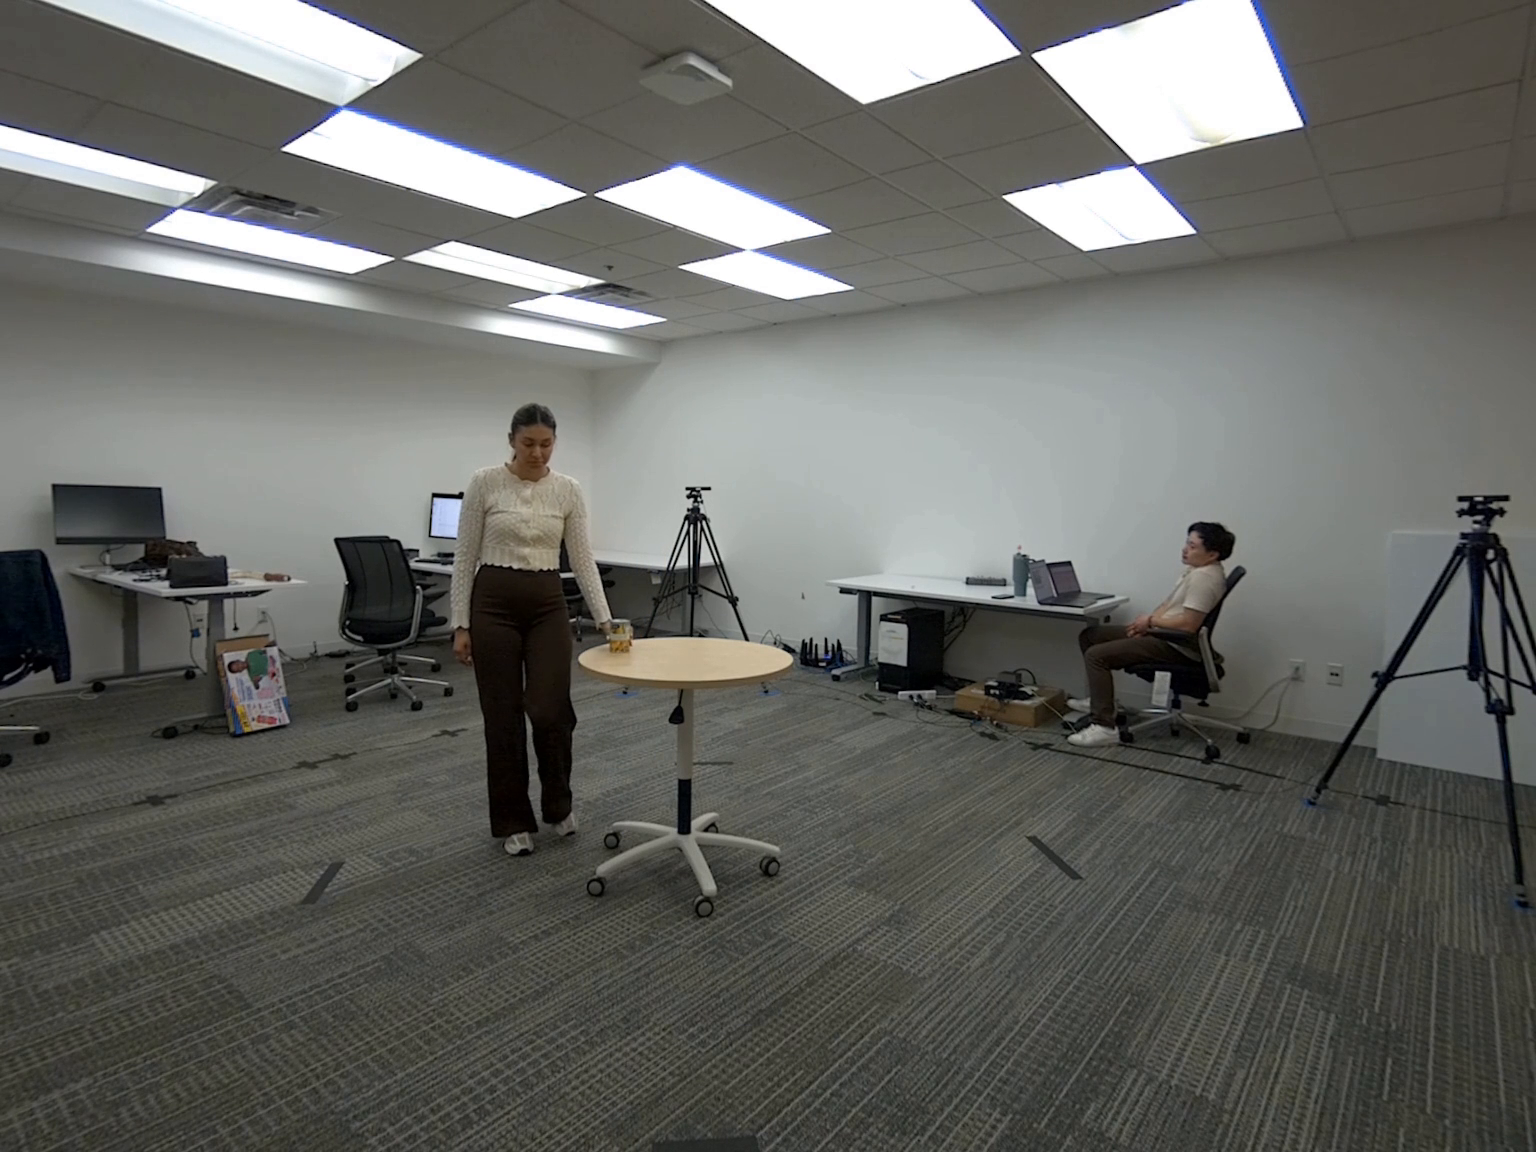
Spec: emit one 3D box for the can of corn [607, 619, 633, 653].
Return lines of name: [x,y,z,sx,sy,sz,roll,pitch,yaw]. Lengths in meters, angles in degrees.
can of corn: [-0.558,0.219,3.141,0.074,0.111,0.074,-1,0,-2]
